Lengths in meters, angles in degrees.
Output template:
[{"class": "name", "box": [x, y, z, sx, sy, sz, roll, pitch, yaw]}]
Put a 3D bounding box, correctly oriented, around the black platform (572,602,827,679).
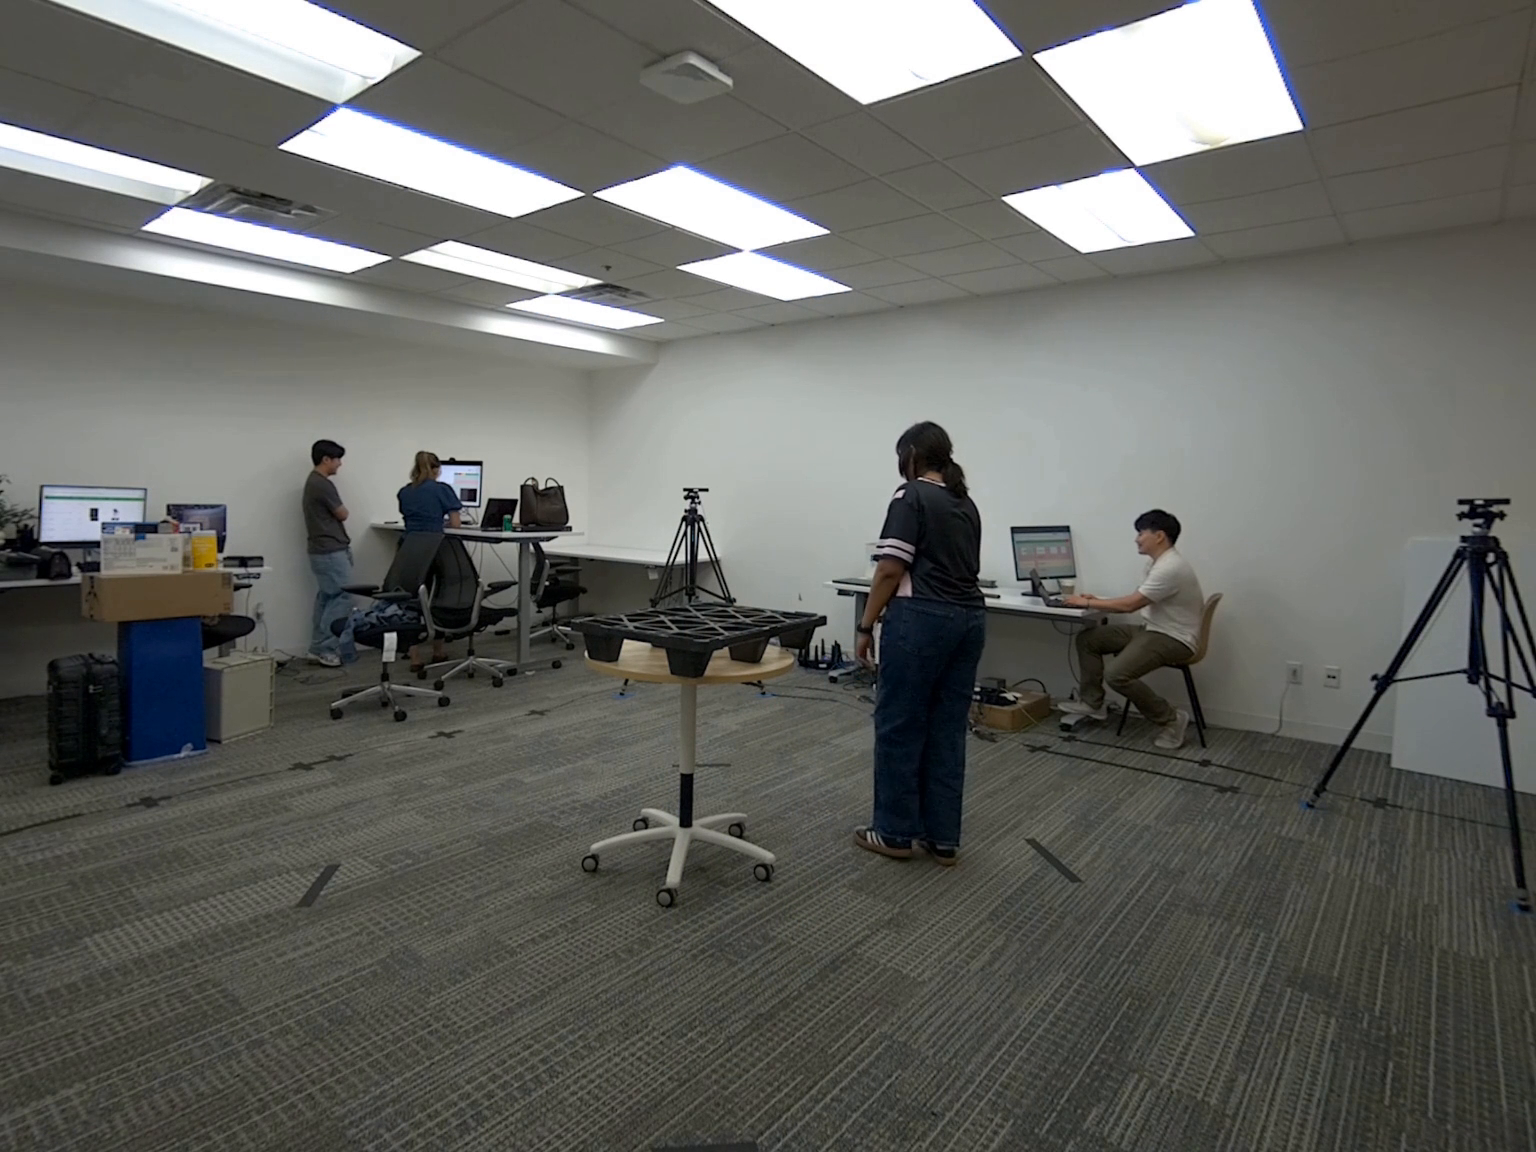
[{"class": "black platform", "box": [-0.235, 0.222, 3.130, 0.625, 0.143, 0.783, 6, 7, 34]}]
